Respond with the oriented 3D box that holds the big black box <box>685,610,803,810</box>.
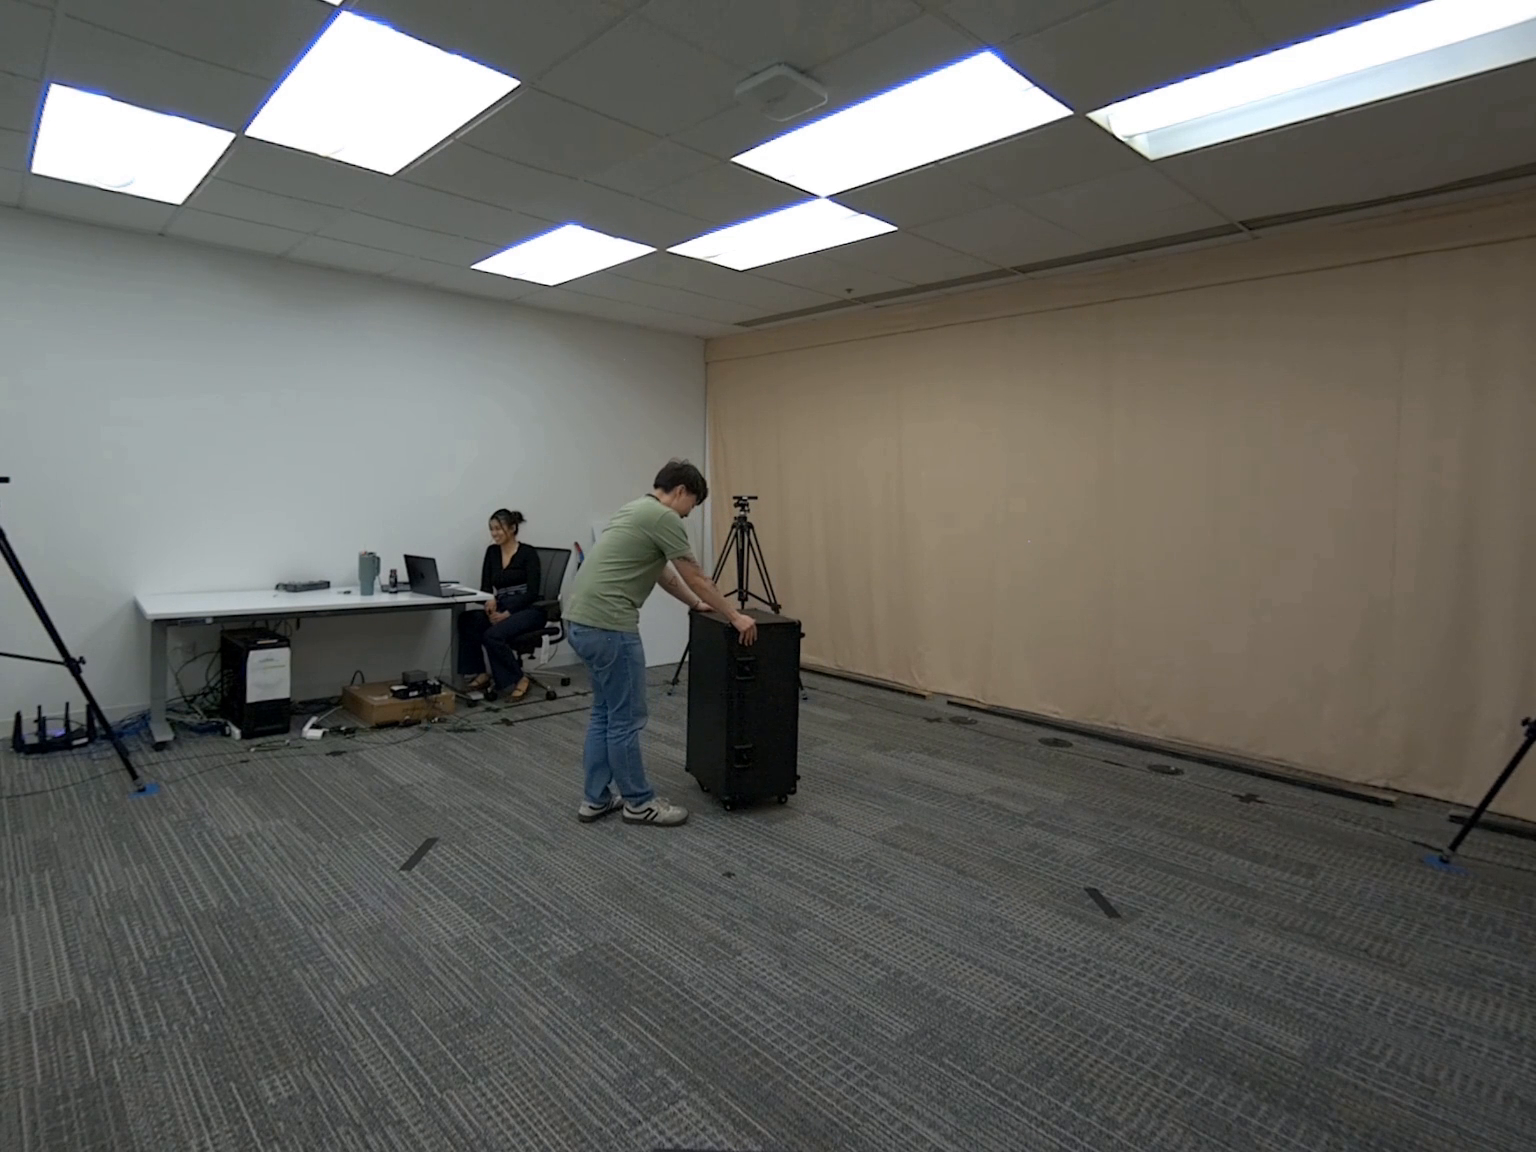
[{"bbox_3d":[-0.122,0.607,3.931,0.389,0.860,0.532,1,3,-26],"label":"big black box"}]
